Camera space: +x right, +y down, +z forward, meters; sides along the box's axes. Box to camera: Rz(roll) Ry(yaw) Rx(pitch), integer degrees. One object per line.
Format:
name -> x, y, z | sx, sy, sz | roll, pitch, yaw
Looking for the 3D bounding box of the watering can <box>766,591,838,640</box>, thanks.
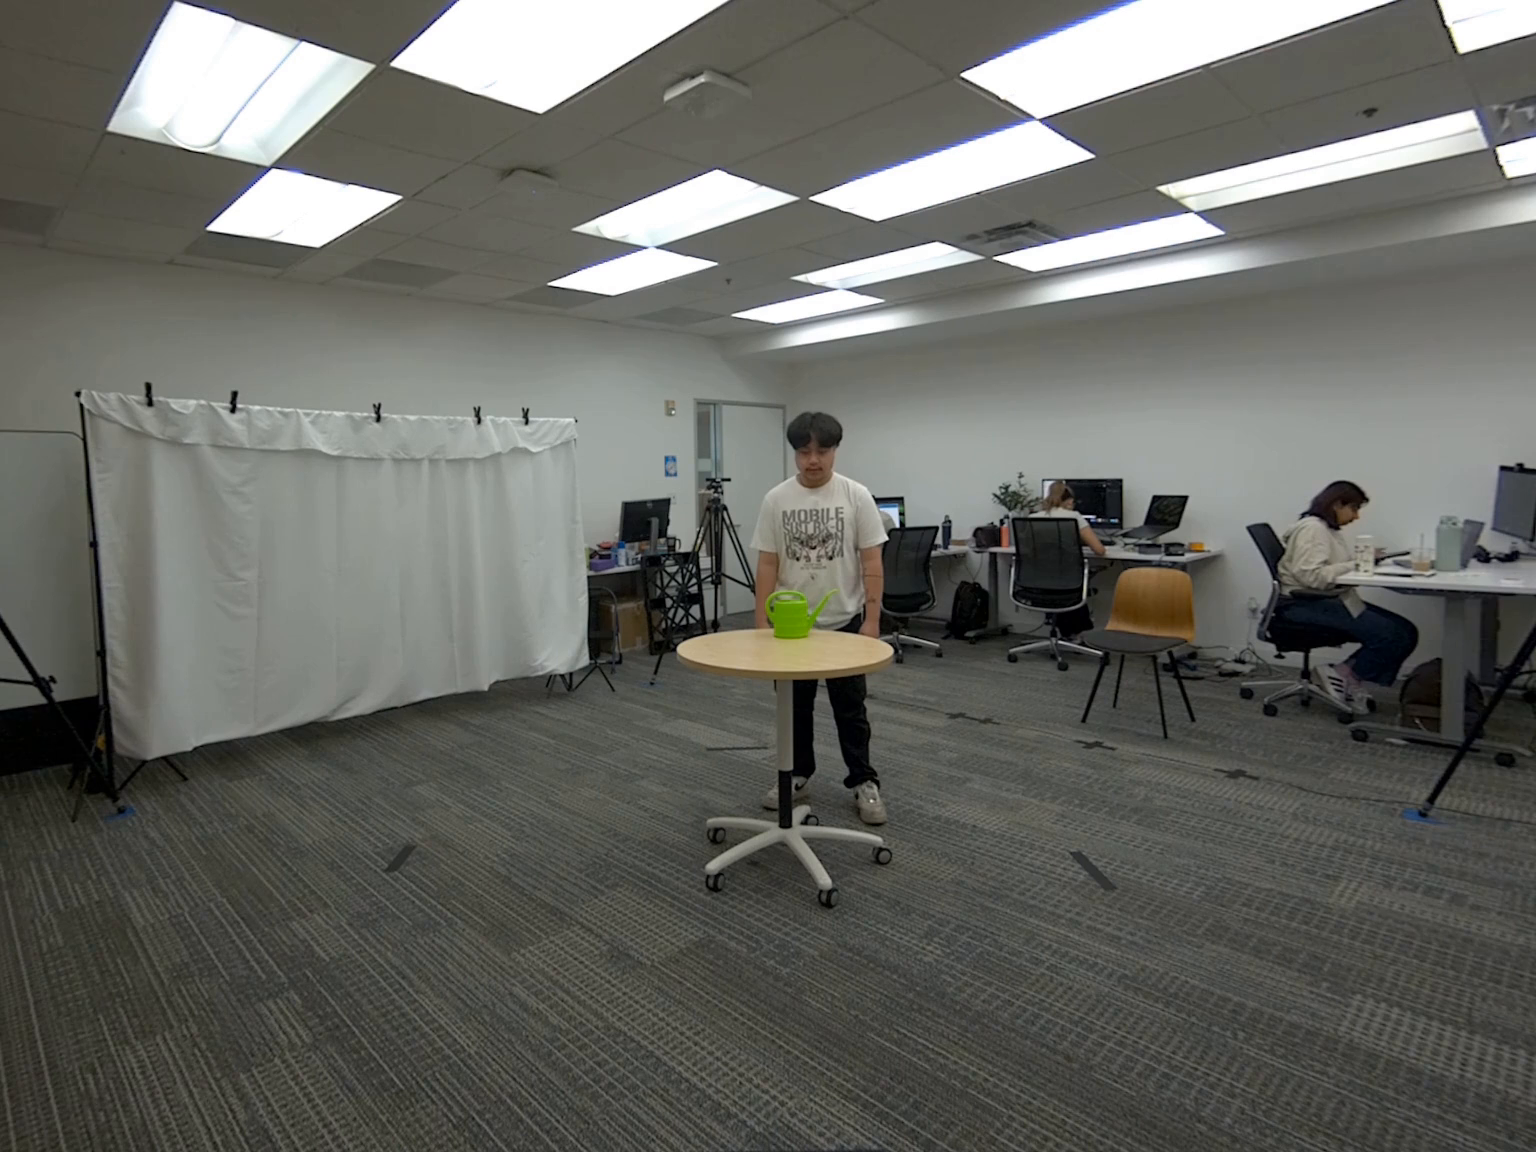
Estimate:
watering can -> 0.136, 0.149, 3.248 | 0.280, 0.176, 0.097 | -2, 4, 8
